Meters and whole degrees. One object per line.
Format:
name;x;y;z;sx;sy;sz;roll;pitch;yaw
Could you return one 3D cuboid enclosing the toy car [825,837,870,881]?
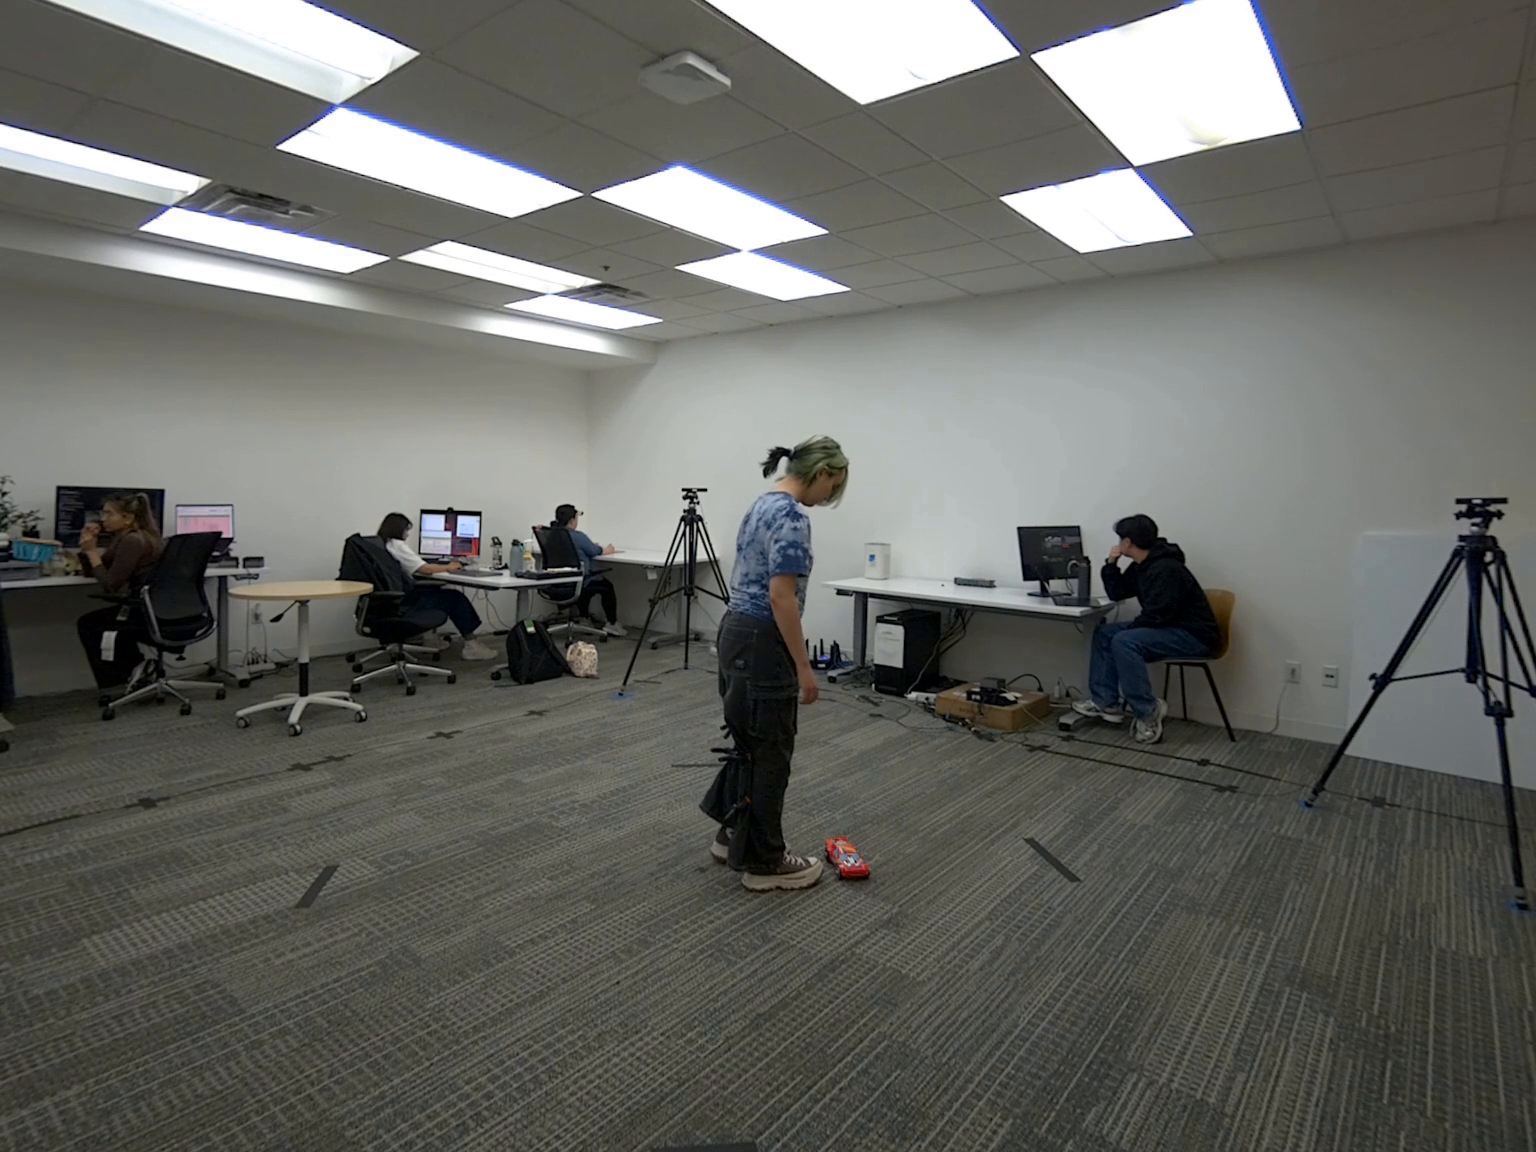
toy car;0.281;1.048;3.153;0.129;0.082;0.261;-1;17;-10
